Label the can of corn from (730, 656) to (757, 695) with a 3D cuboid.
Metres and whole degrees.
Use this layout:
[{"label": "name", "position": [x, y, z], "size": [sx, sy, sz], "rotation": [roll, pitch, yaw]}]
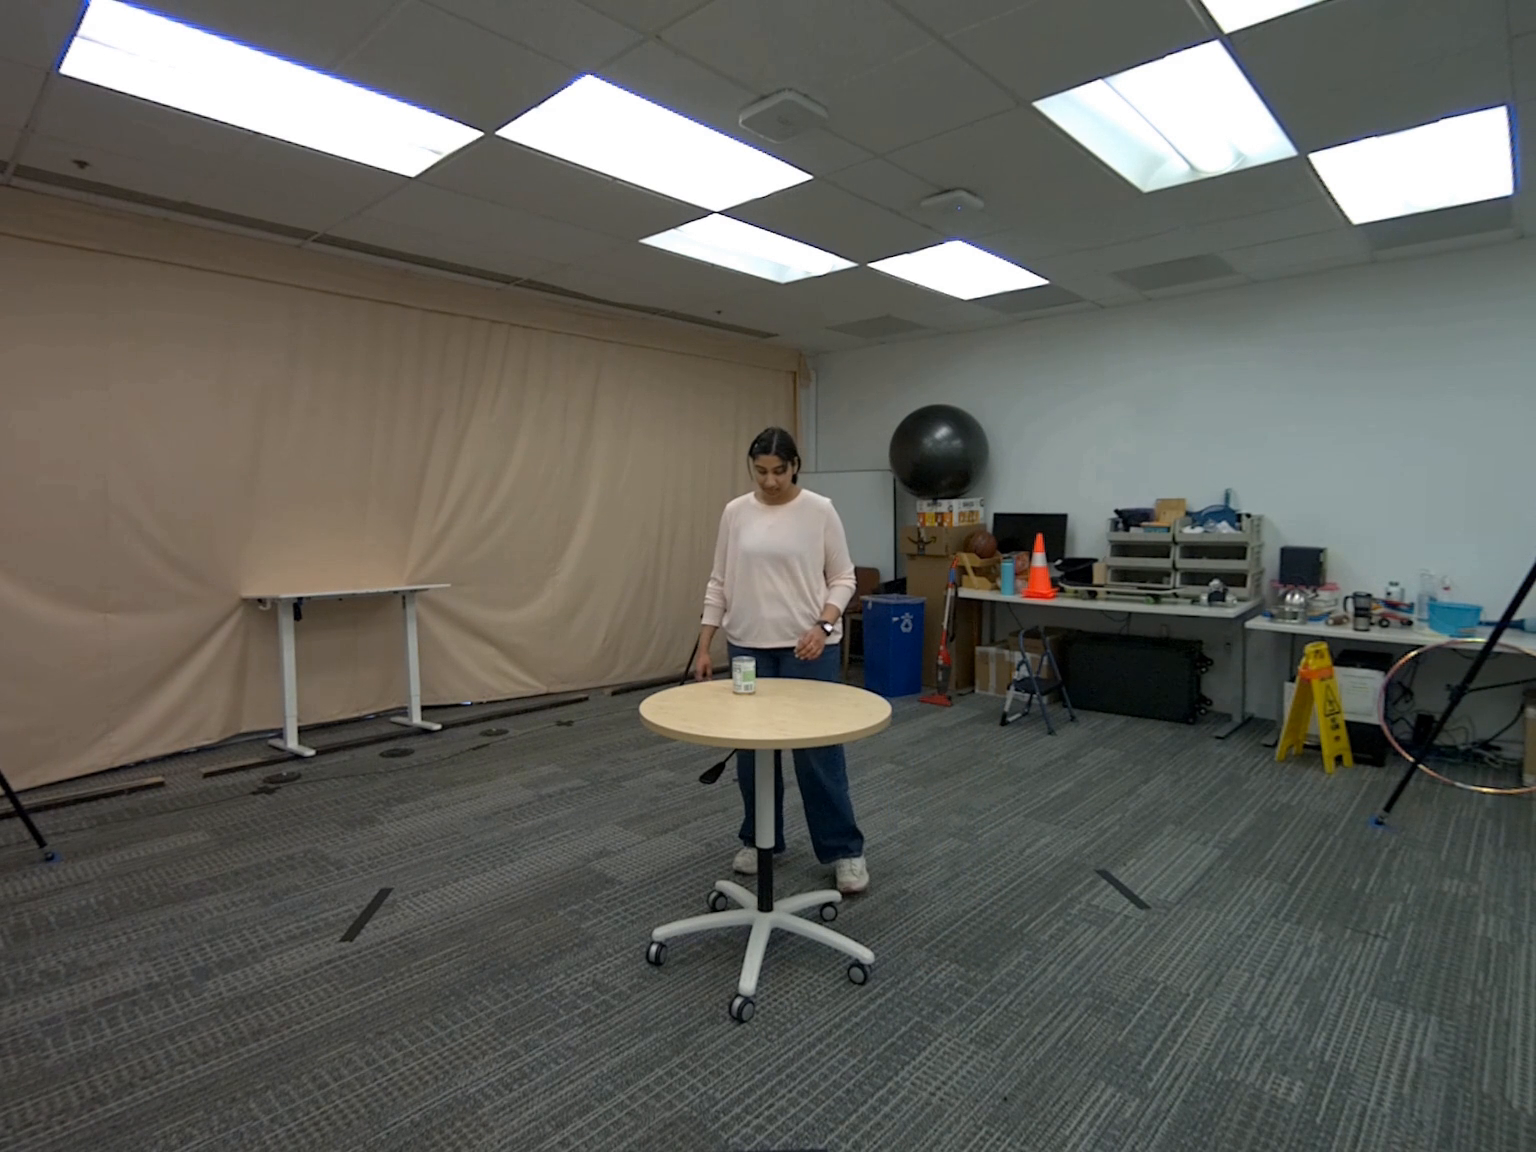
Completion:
[{"label": "can of corn", "position": [-0.081, 0.324, 2.745], "size": [0.074, 0.111, 0.074], "rotation": [1, 2, -2]}]
